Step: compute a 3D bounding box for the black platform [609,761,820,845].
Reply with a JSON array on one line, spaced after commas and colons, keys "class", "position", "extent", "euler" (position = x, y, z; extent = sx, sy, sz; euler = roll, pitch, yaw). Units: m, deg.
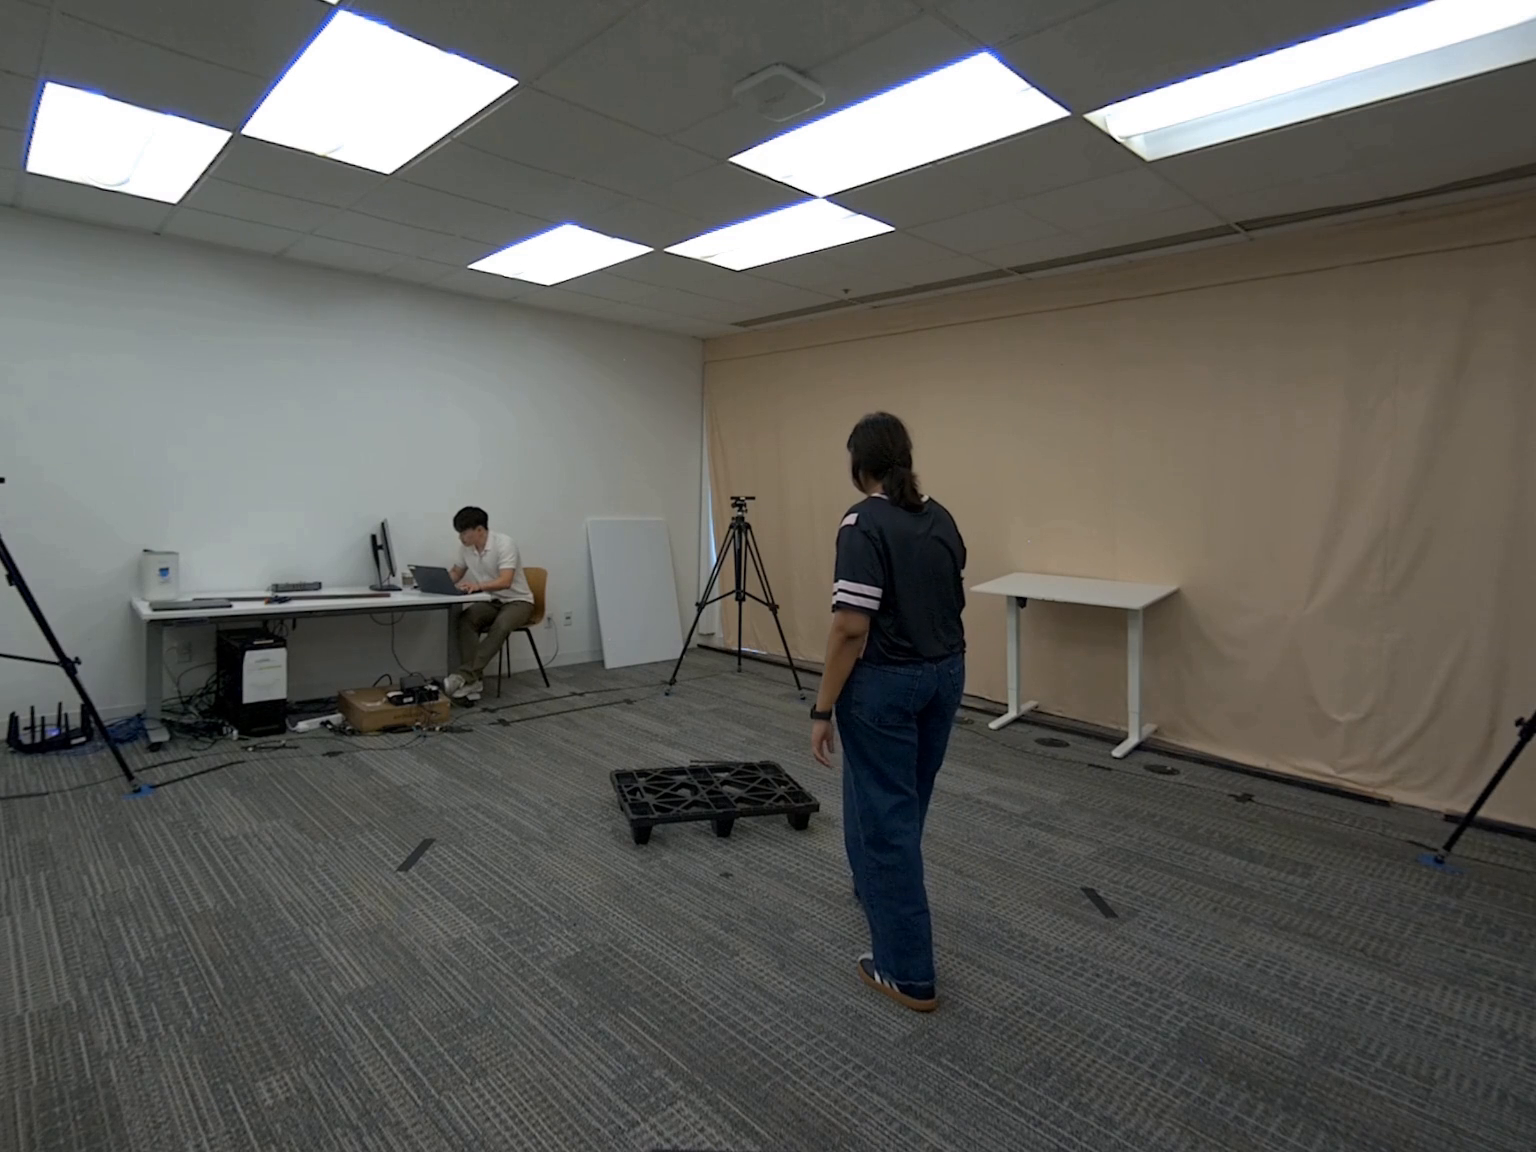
[{"class": "black platform", "position": [-0.265, 0.982, 3.679], "extent": [0.795, 0.143, 0.614], "euler": [0, 5, -17]}]
